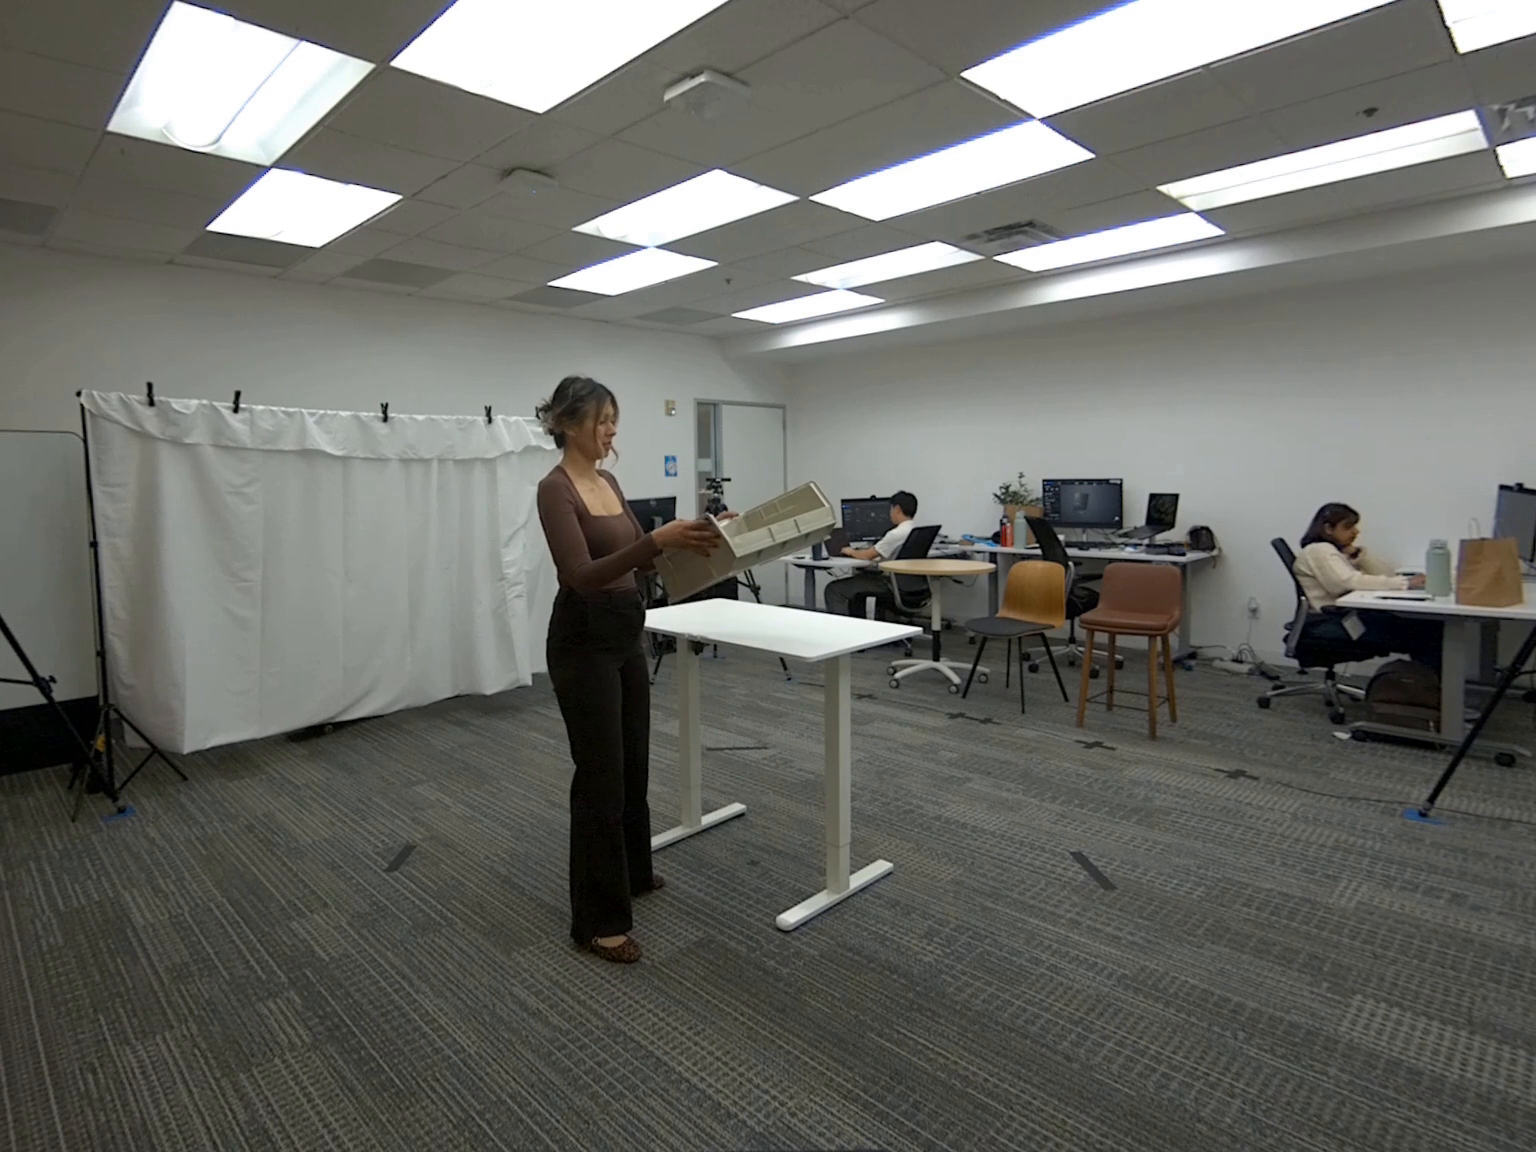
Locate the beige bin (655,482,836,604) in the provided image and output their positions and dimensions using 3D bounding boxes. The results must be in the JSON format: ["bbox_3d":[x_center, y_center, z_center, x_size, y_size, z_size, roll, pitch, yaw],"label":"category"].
[{"bbox_3d":[-0.071,-0.101,2.488,0.415,0.190,0.382,-22,-2,-40],"label":"beige bin"}]
